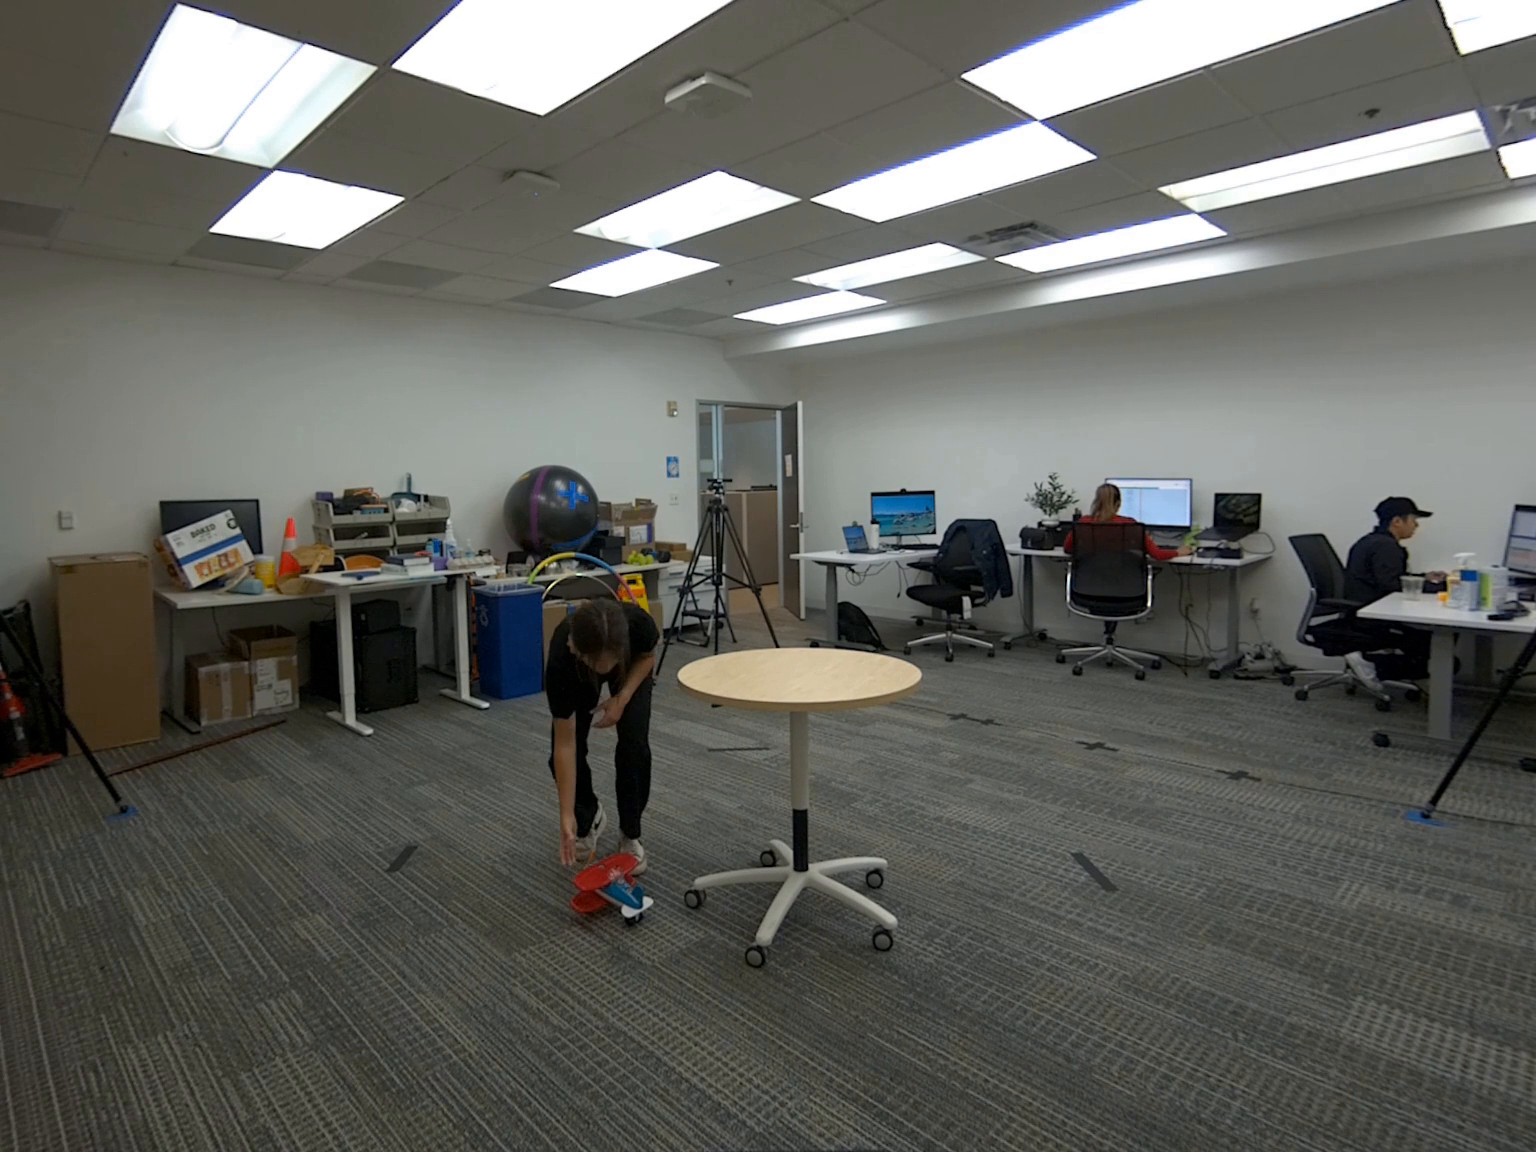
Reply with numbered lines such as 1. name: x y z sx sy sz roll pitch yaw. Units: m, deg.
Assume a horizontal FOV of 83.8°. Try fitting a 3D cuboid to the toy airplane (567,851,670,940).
1. toy airplane: -0.479 1.024 2.771 0.261 0.156 0.250 -2 5 8
